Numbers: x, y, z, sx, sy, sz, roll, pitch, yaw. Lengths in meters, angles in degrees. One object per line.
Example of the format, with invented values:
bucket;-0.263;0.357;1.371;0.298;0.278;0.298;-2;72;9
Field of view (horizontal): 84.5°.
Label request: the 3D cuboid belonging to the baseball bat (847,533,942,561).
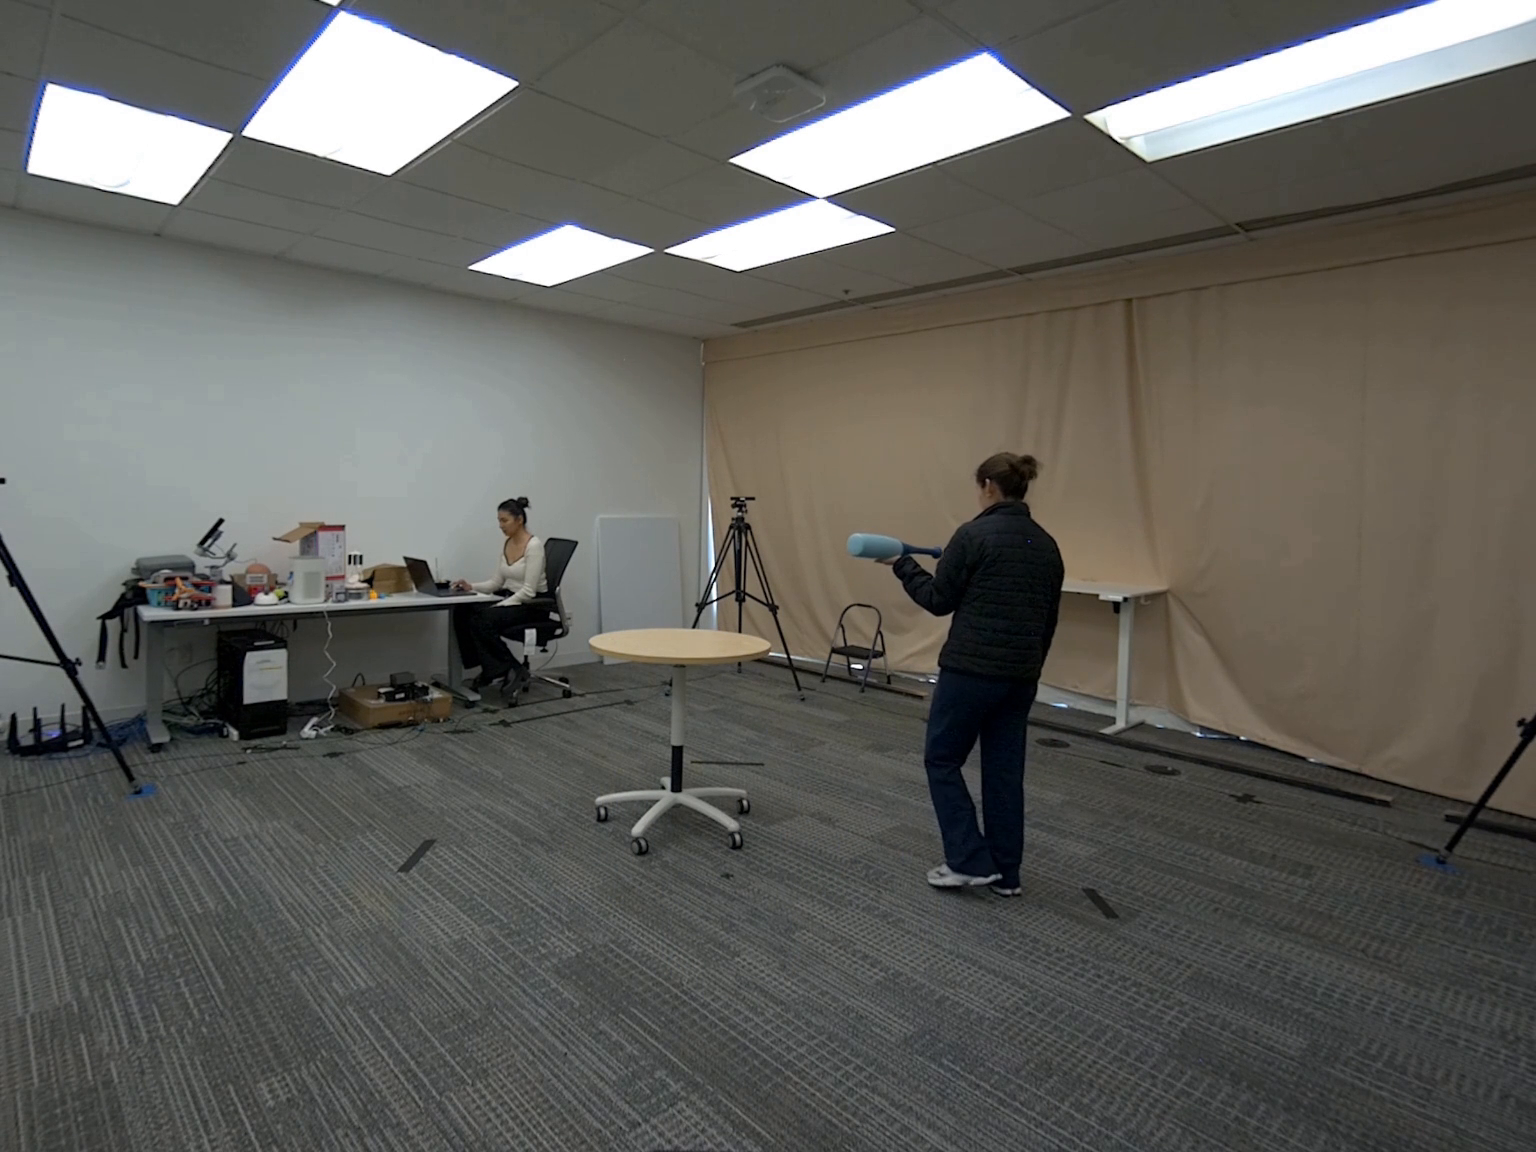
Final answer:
baseball bat;0.501;-0.101;3.222;0.529;0.089;0.091;3;2;-43
